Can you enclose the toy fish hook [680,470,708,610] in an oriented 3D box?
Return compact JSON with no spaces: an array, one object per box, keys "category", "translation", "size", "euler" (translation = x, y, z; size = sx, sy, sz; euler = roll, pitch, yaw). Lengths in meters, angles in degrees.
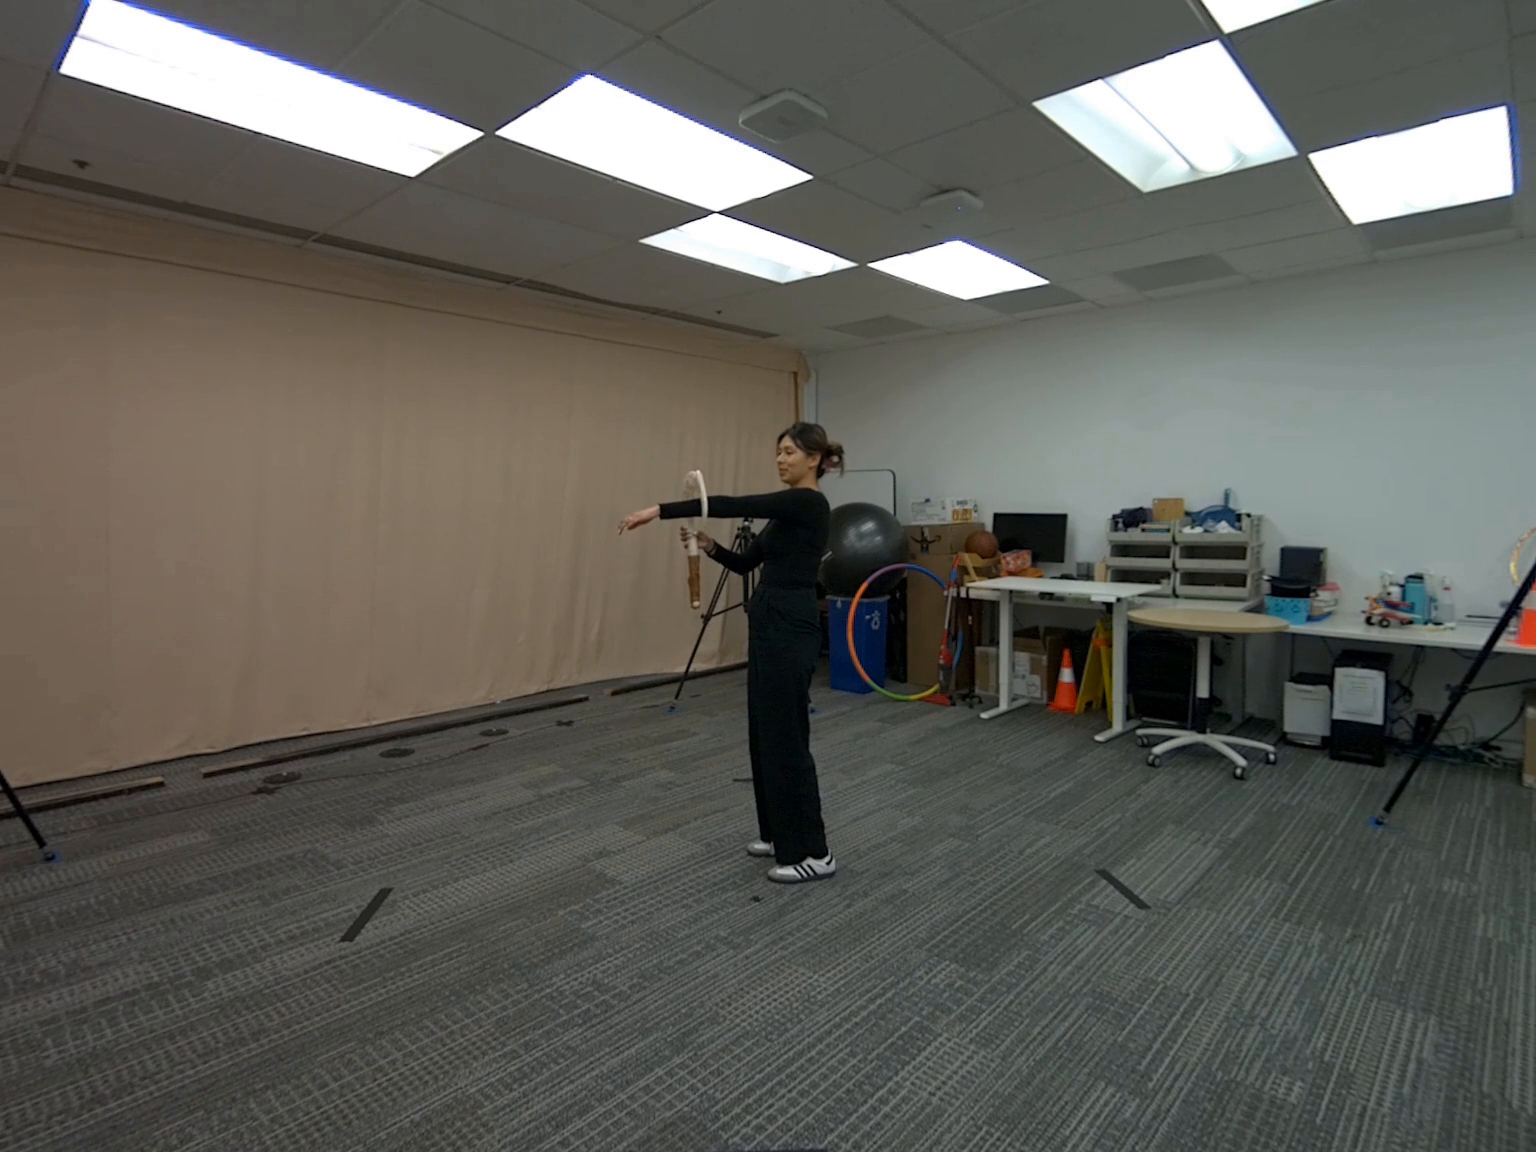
[{"category":"toy fish hook","translation":[-0.263,-0.125,3.062],"size":[0.047,0.505,0.229],"euler":[-4,4,-18]}]
